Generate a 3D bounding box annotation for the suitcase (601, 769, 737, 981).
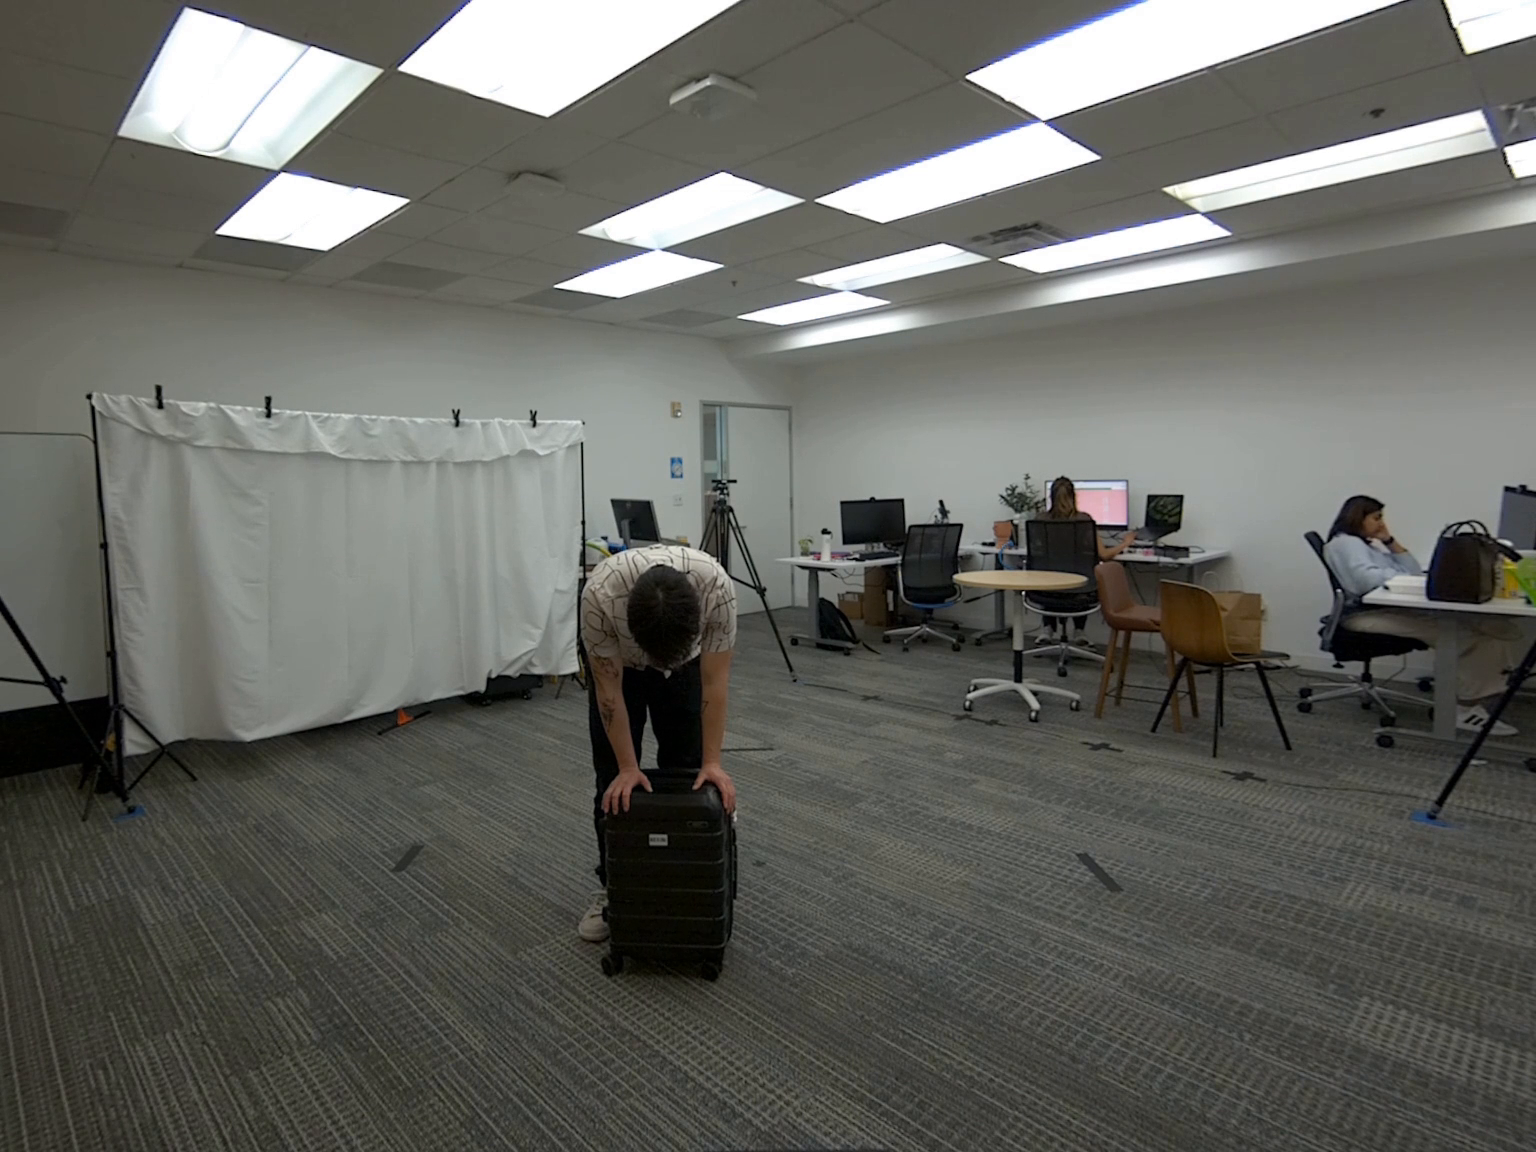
[{"bbox_3d":[-0.280,0.850,2.493,0.377,0.546,0.248,0,6,4],"label":"suitcase"}]
